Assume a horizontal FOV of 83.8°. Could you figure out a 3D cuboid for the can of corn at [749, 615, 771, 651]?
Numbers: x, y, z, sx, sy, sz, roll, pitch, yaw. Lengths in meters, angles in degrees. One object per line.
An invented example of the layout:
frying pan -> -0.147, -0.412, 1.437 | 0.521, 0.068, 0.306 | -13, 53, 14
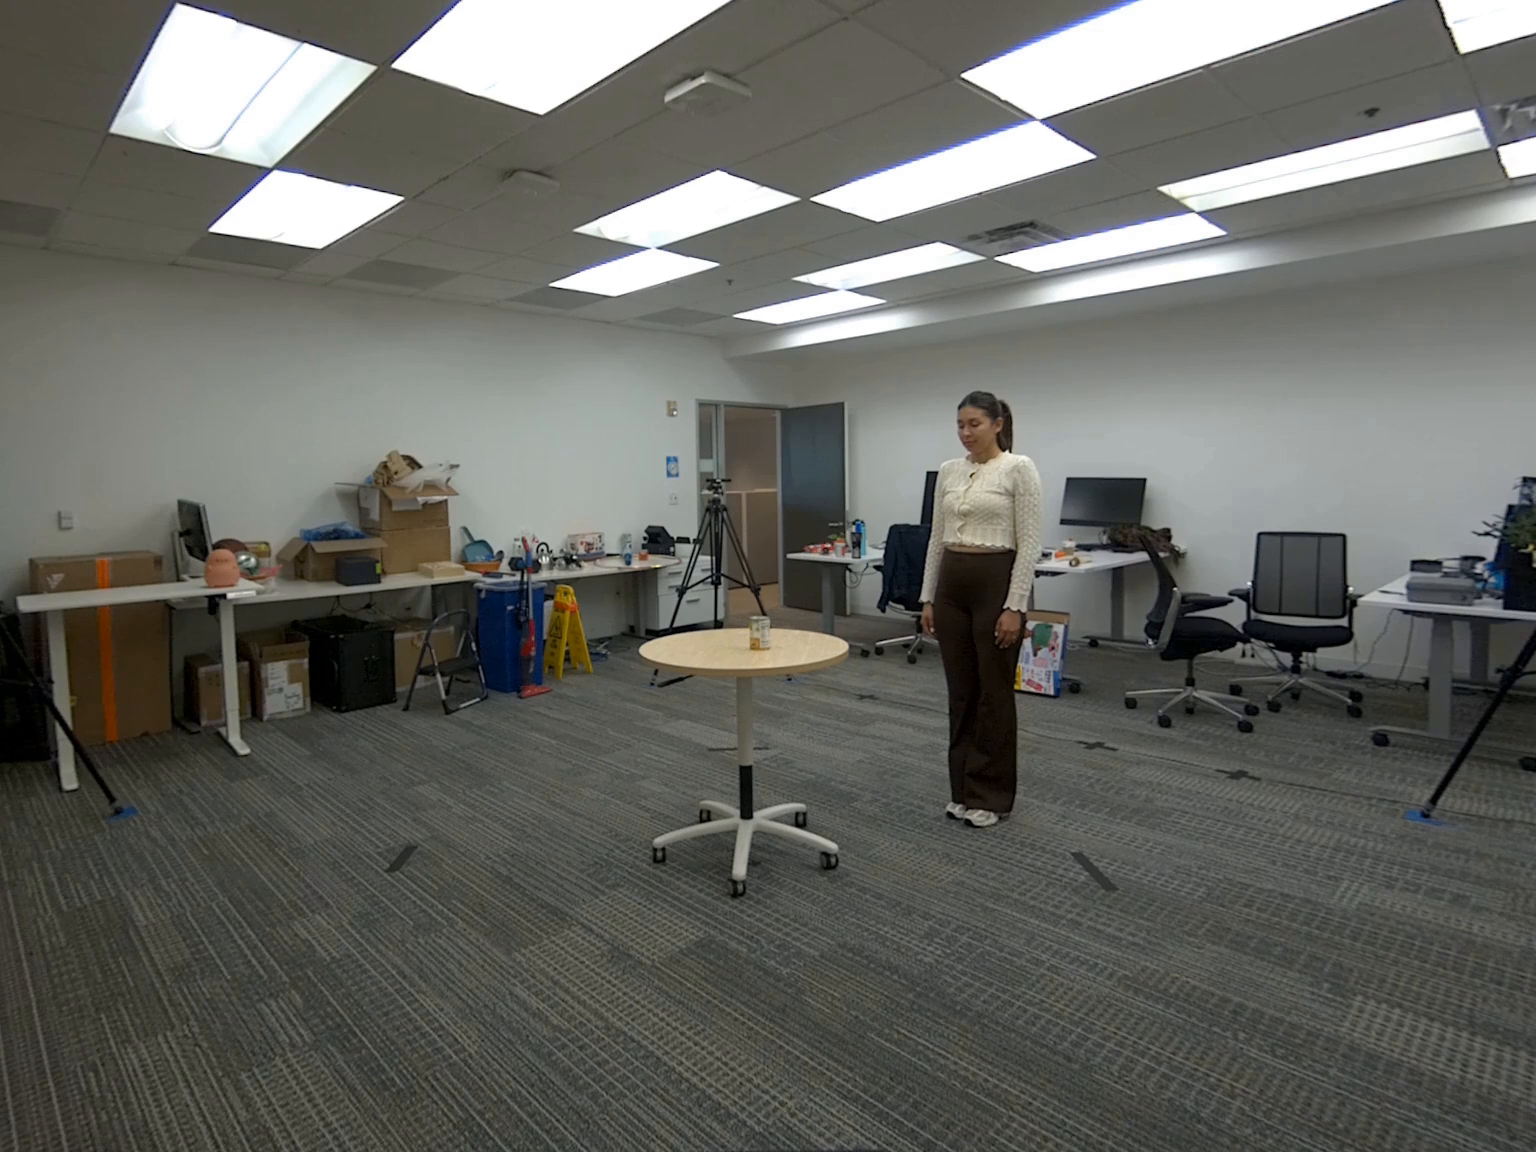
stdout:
can of corn -> -0.027, 0.206, 3.081 | 0.074, 0.110, 0.075 | 0, 6, -2
